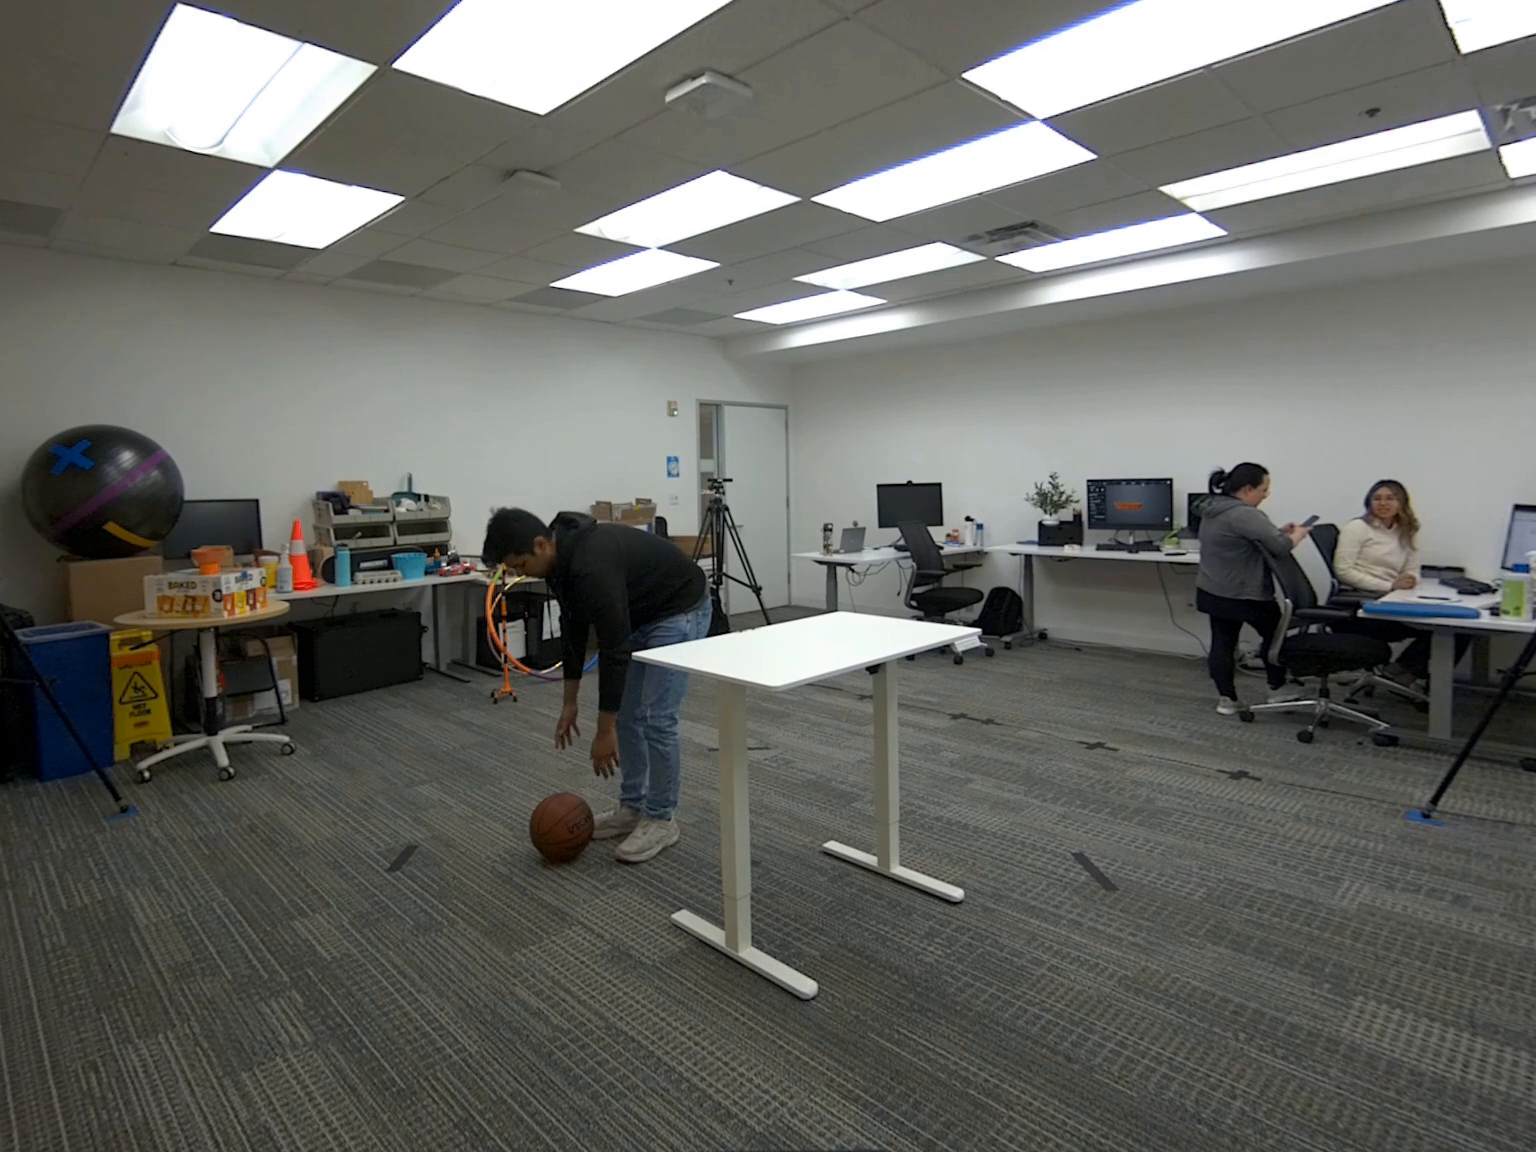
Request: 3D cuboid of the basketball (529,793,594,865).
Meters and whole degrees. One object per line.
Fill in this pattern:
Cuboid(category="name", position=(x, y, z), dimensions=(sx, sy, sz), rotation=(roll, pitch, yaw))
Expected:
Cuboid(category="basketball", position=(-0.759, 0.926, 3.174), dimensions=(0.236, 0.235, 0.237), rotation=(-1, 5, -2))
